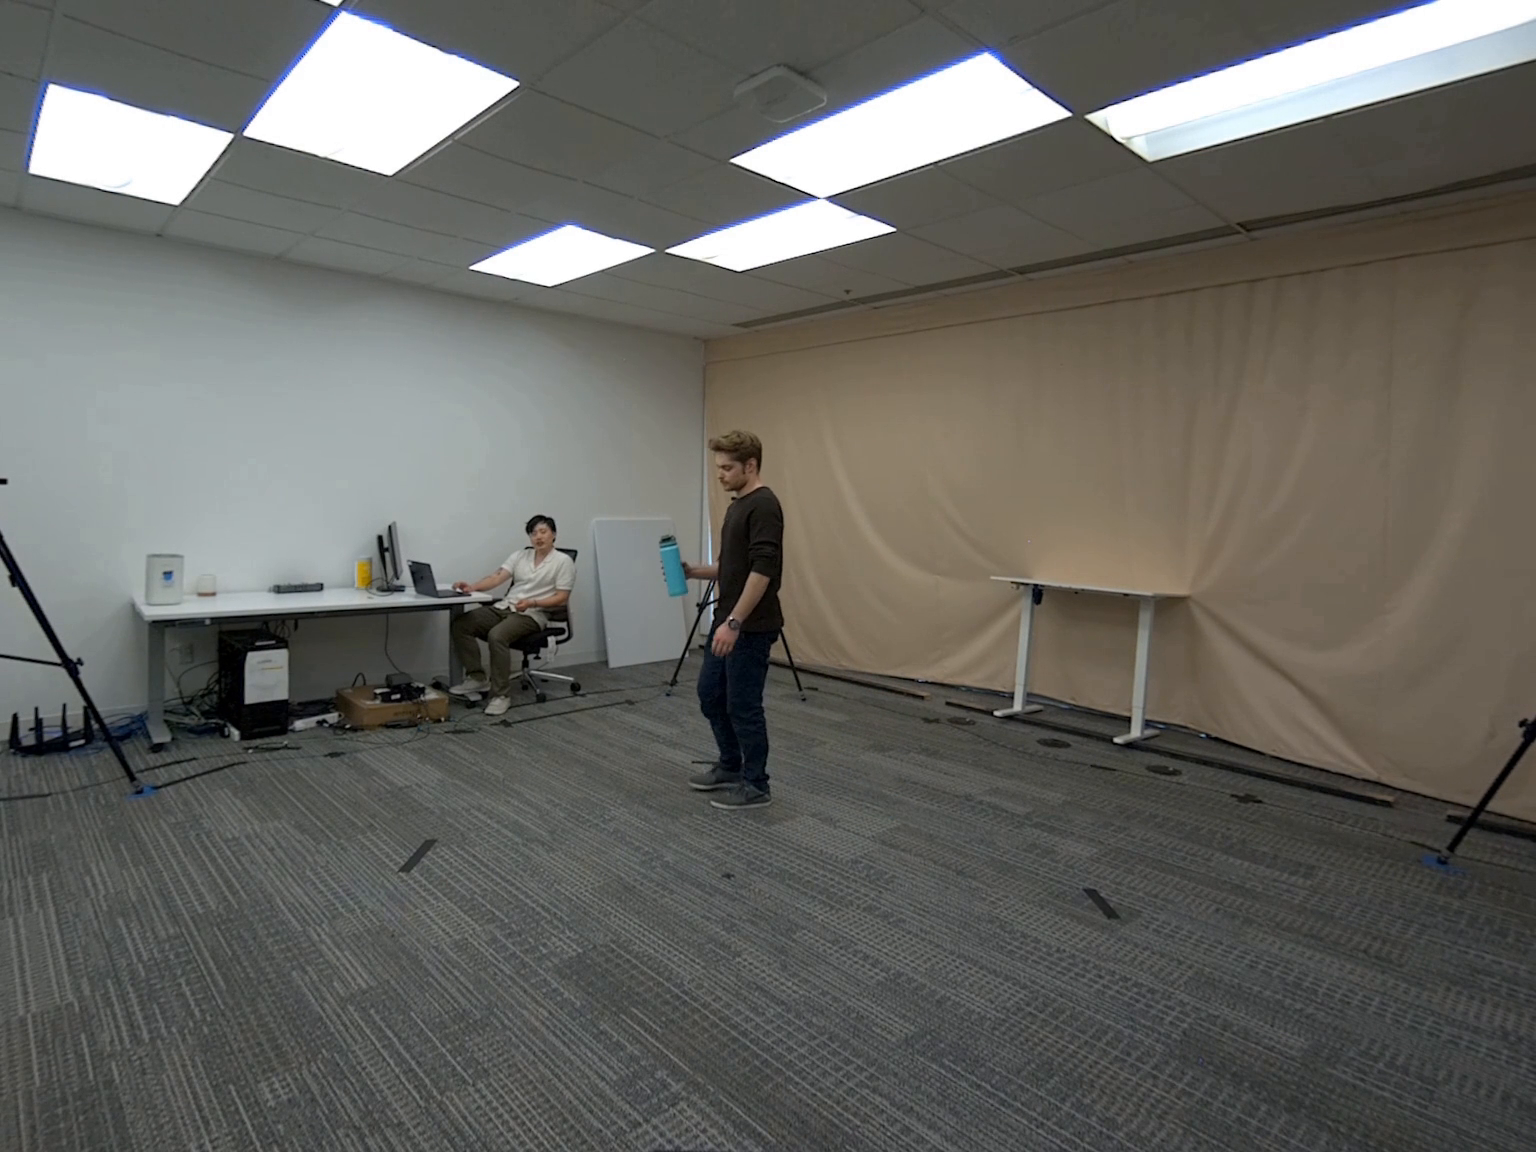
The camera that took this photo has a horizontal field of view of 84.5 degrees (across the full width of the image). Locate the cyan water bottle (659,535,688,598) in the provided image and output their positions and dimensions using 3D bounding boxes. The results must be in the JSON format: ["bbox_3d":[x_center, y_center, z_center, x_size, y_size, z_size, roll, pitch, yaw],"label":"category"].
[{"bbox_3d":[-0.438,-0.051,3.840,0.092,0.282,0.092,-13,4,0],"label":"cyan water bottle"}]
